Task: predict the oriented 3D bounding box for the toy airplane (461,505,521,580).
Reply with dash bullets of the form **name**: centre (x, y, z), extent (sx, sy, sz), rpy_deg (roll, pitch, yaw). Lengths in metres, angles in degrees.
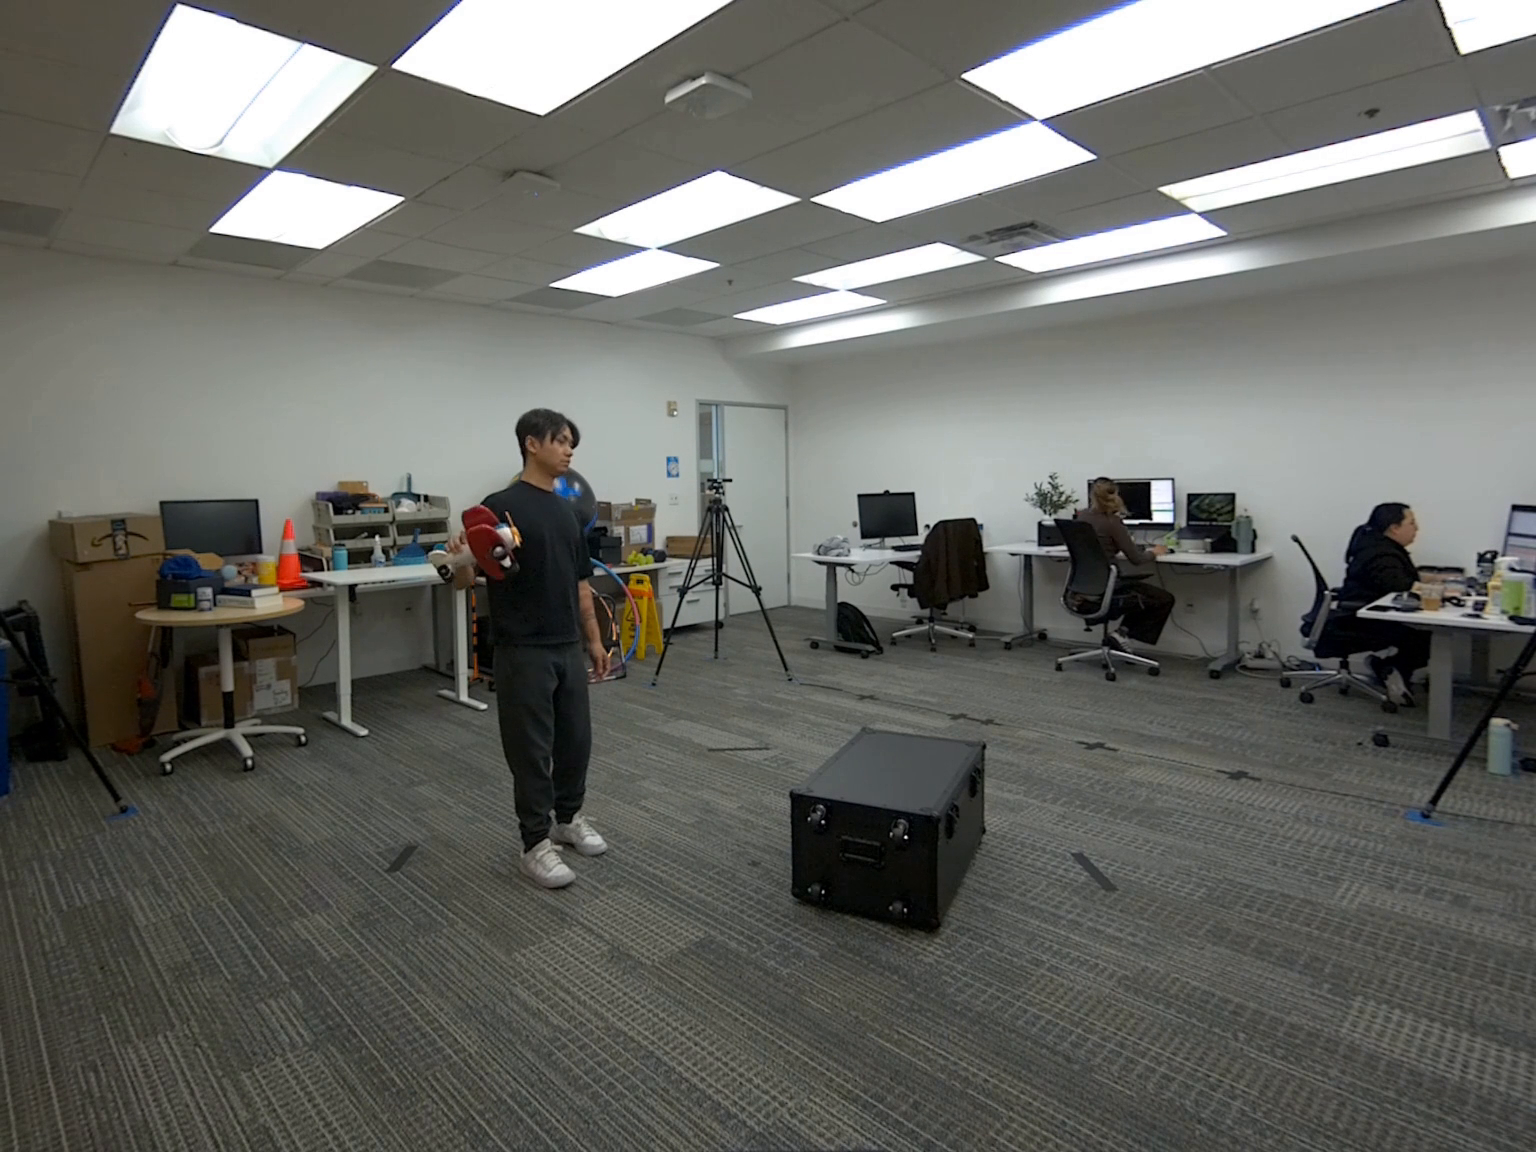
- **toy airplane**: centre (-0.866, -0.085, 2.503), extent (0.254, 0.161, 0.249), rpy_deg (6, -39, -22)
